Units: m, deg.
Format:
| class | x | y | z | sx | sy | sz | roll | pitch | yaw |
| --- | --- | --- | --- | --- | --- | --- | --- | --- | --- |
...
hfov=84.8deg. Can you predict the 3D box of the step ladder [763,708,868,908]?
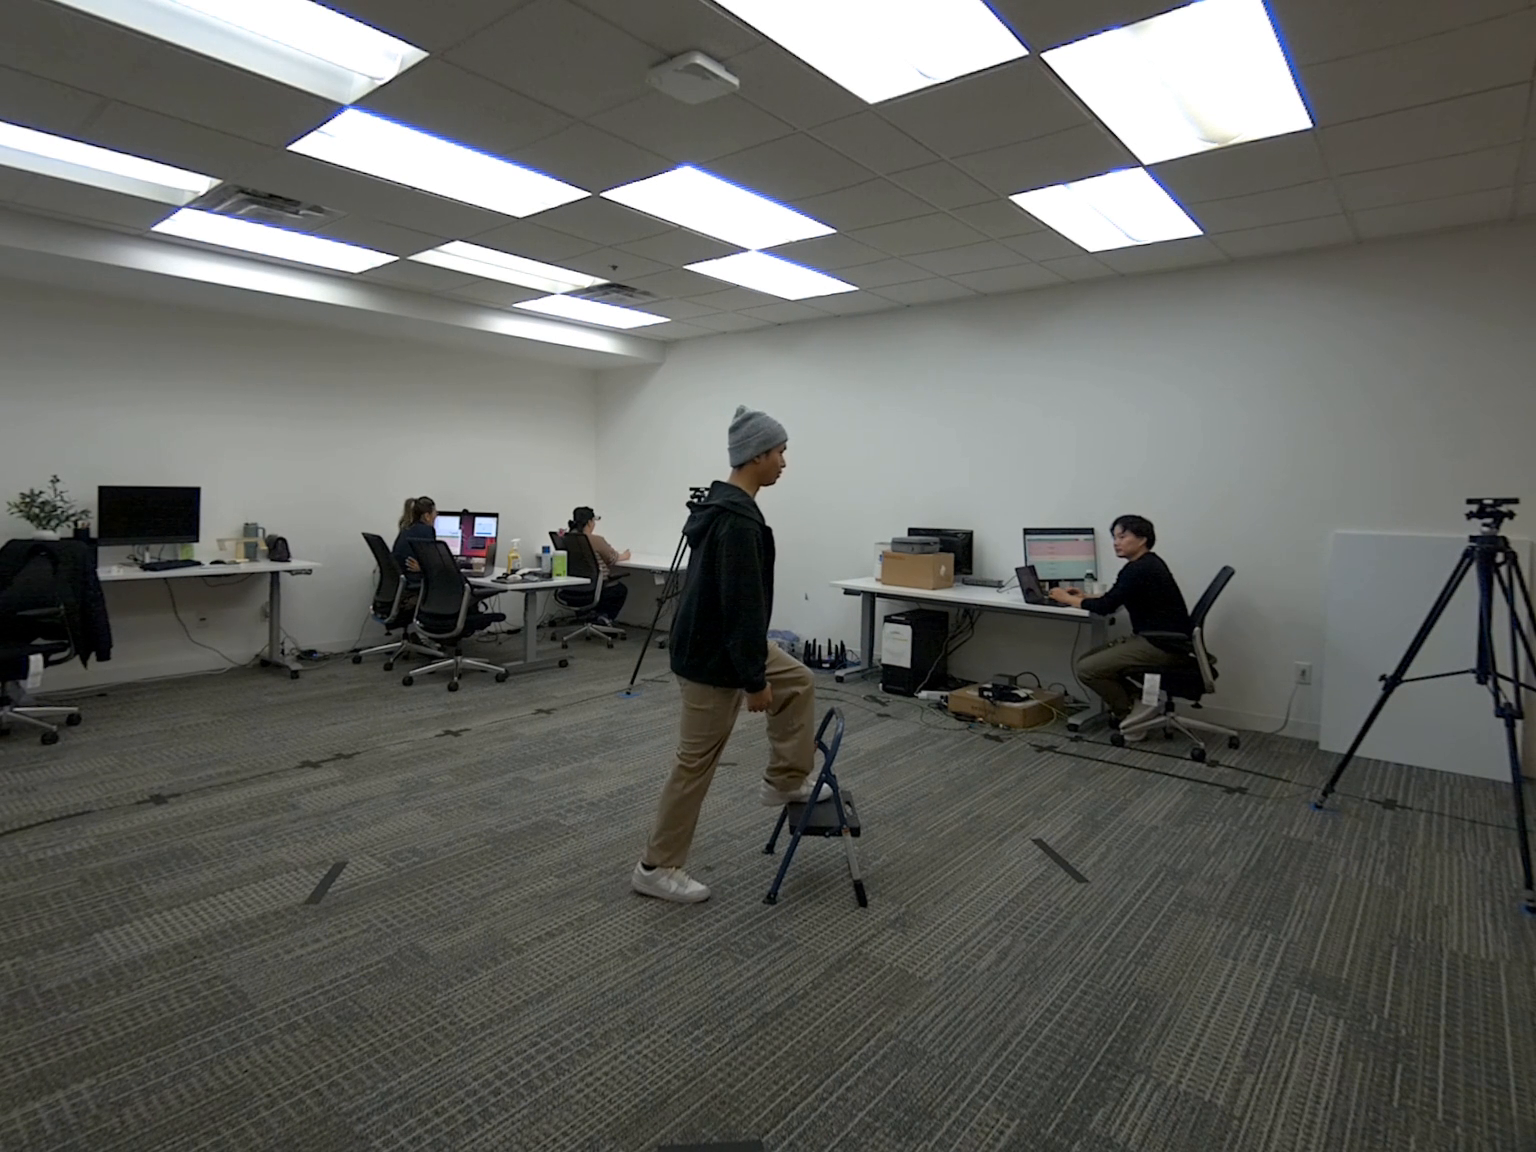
| class | x | y | z | sx | sy | sz | roll | pitch | yaw |
| --- | --- | --- | --- | --- | --- | --- | --- | --- | --- |
| step ladder | 0.159 | 0.783 | 3.037 | 0.350 | 0.604 | 0.431 | 1 | 3 | 0 |
